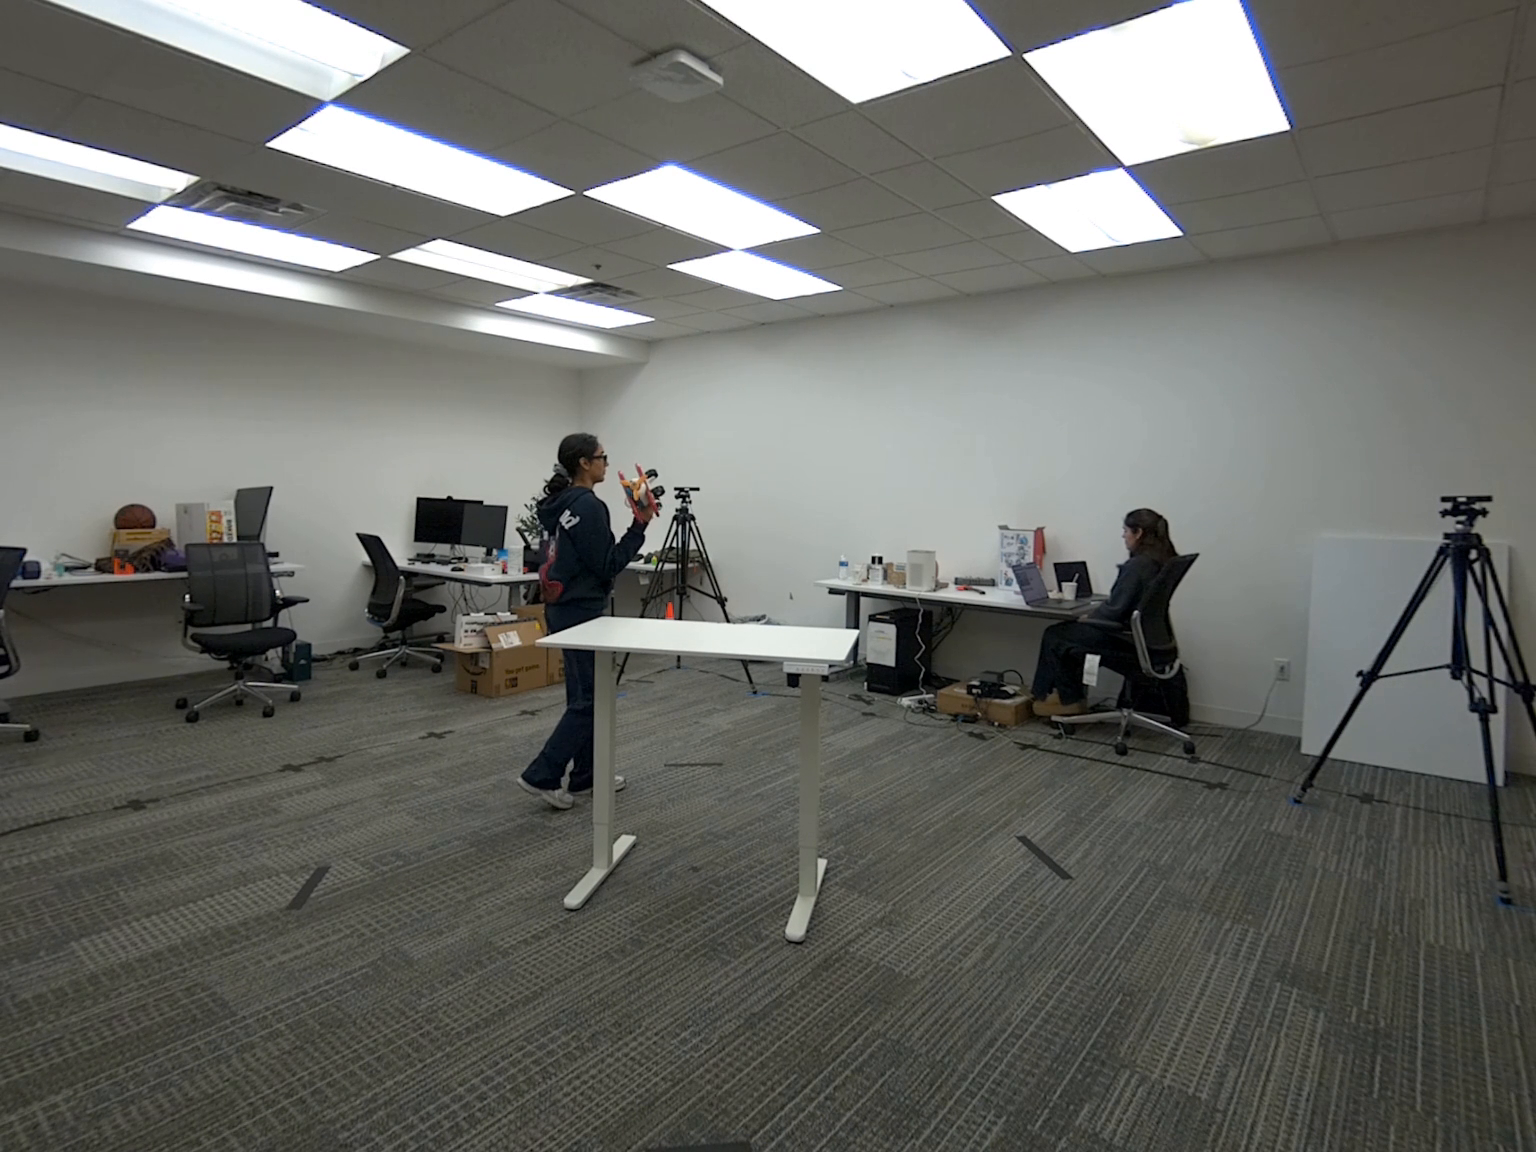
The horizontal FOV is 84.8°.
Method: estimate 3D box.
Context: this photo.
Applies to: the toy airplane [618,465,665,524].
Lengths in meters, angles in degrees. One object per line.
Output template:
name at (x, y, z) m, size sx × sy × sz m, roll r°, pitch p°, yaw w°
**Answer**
toy airplane at (-0.537, -0.328, 3.609) m, size 0.155 × 0.251 × 0.262 m, roll -19°, pitch 40°, yaw -15°
